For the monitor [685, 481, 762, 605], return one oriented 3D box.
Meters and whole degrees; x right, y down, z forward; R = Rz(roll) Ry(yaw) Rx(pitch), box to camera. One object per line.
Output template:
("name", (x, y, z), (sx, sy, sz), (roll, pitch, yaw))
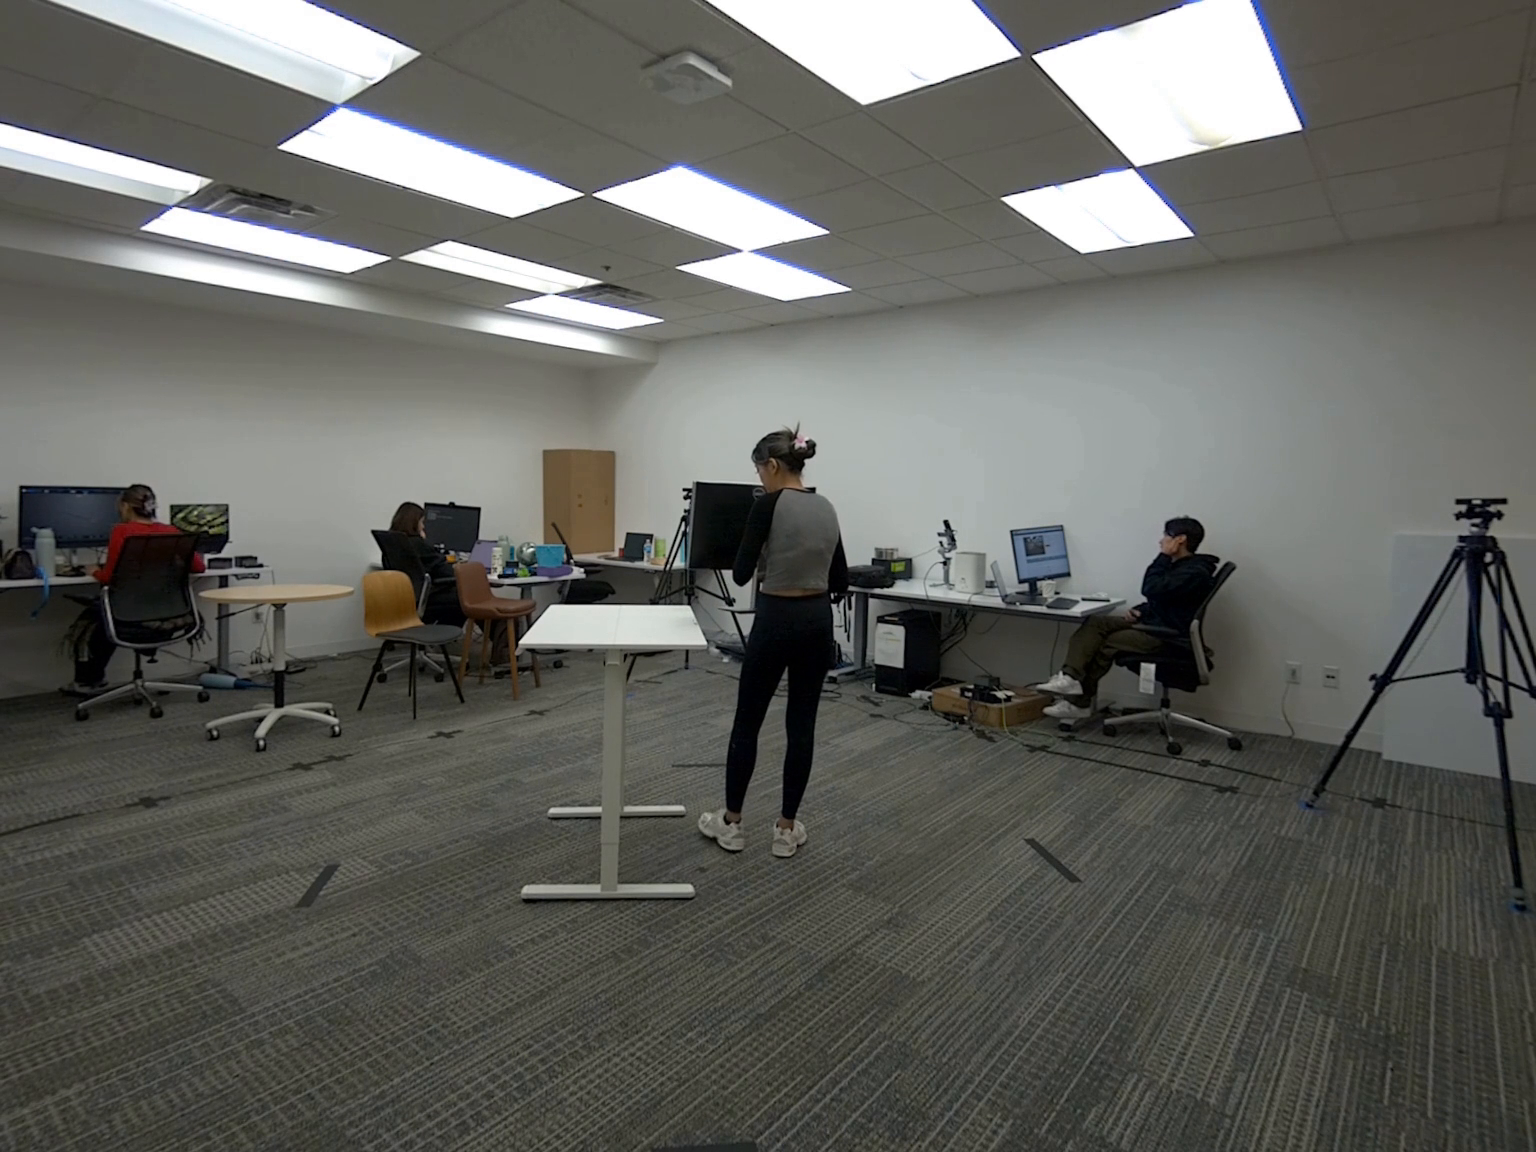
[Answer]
("monitor", (-0.056, -0.114, 3.482), (0.525, 0.523, 0.192), (0, -2, -28))
